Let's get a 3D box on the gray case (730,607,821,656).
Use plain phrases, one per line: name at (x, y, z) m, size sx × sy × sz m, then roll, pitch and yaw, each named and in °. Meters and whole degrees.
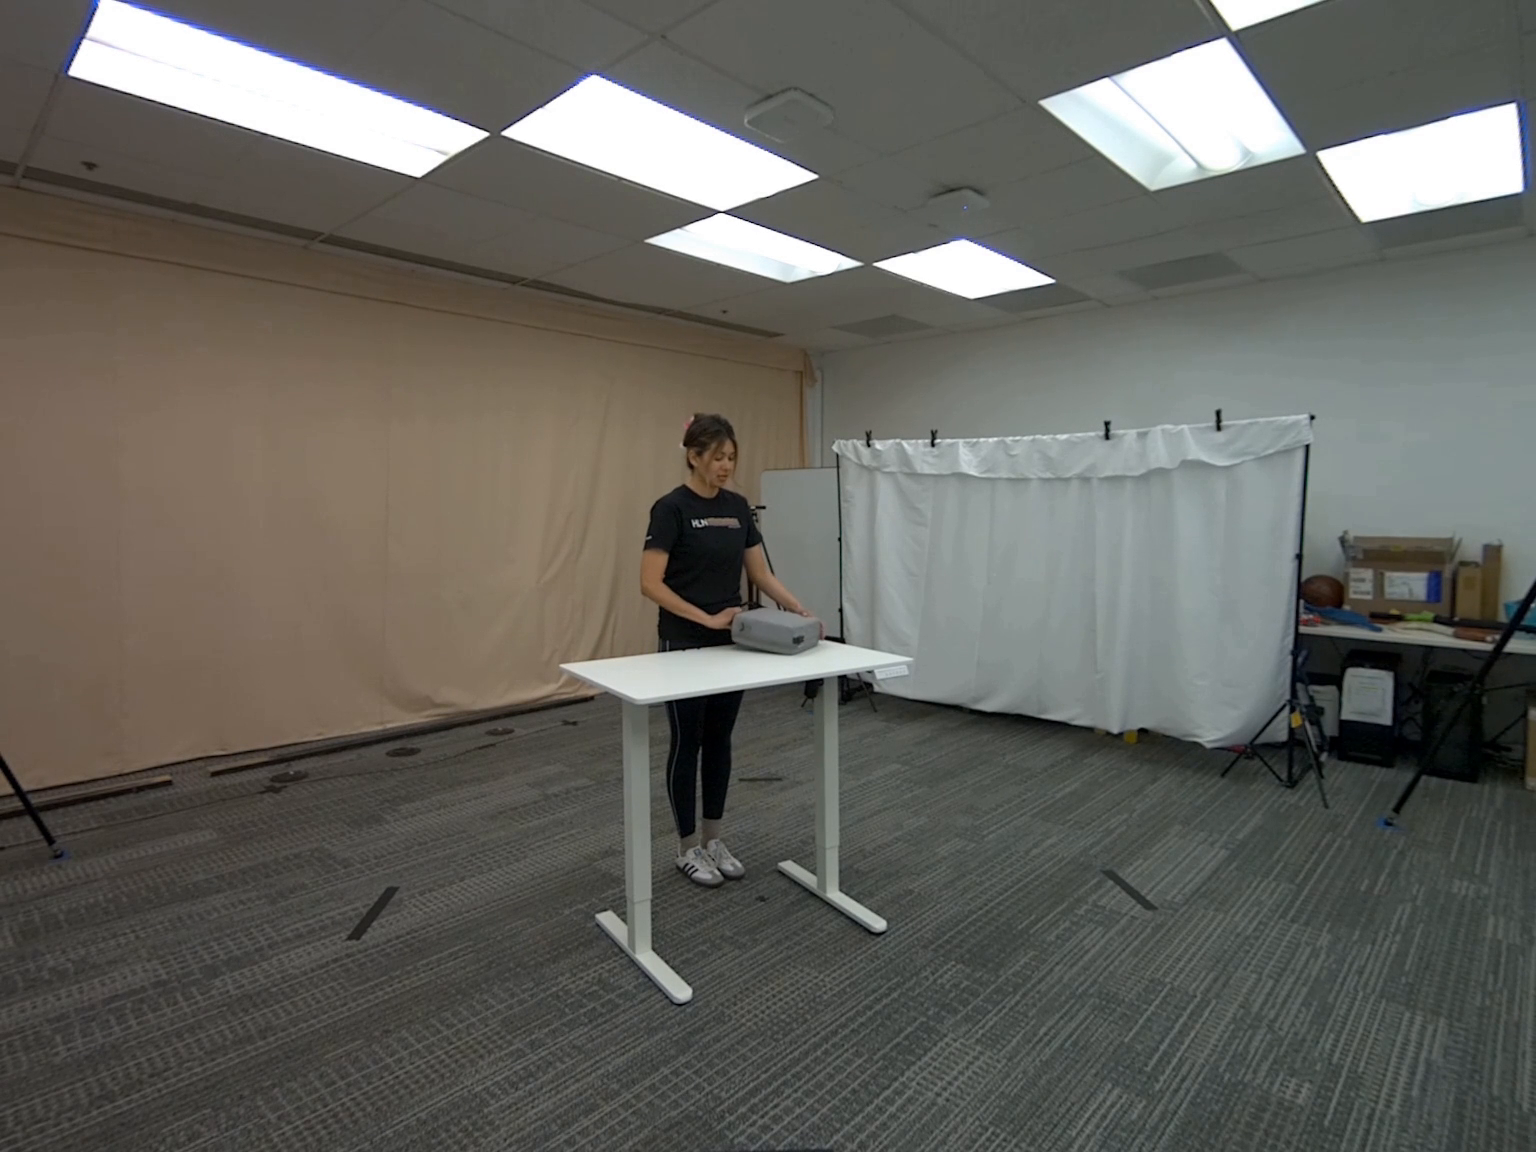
gray case at (0.027, 0.188, 2.987) m, size 0.268 × 0.104 × 0.251 m, roll 12°, pitch 10°, yaw 26°
